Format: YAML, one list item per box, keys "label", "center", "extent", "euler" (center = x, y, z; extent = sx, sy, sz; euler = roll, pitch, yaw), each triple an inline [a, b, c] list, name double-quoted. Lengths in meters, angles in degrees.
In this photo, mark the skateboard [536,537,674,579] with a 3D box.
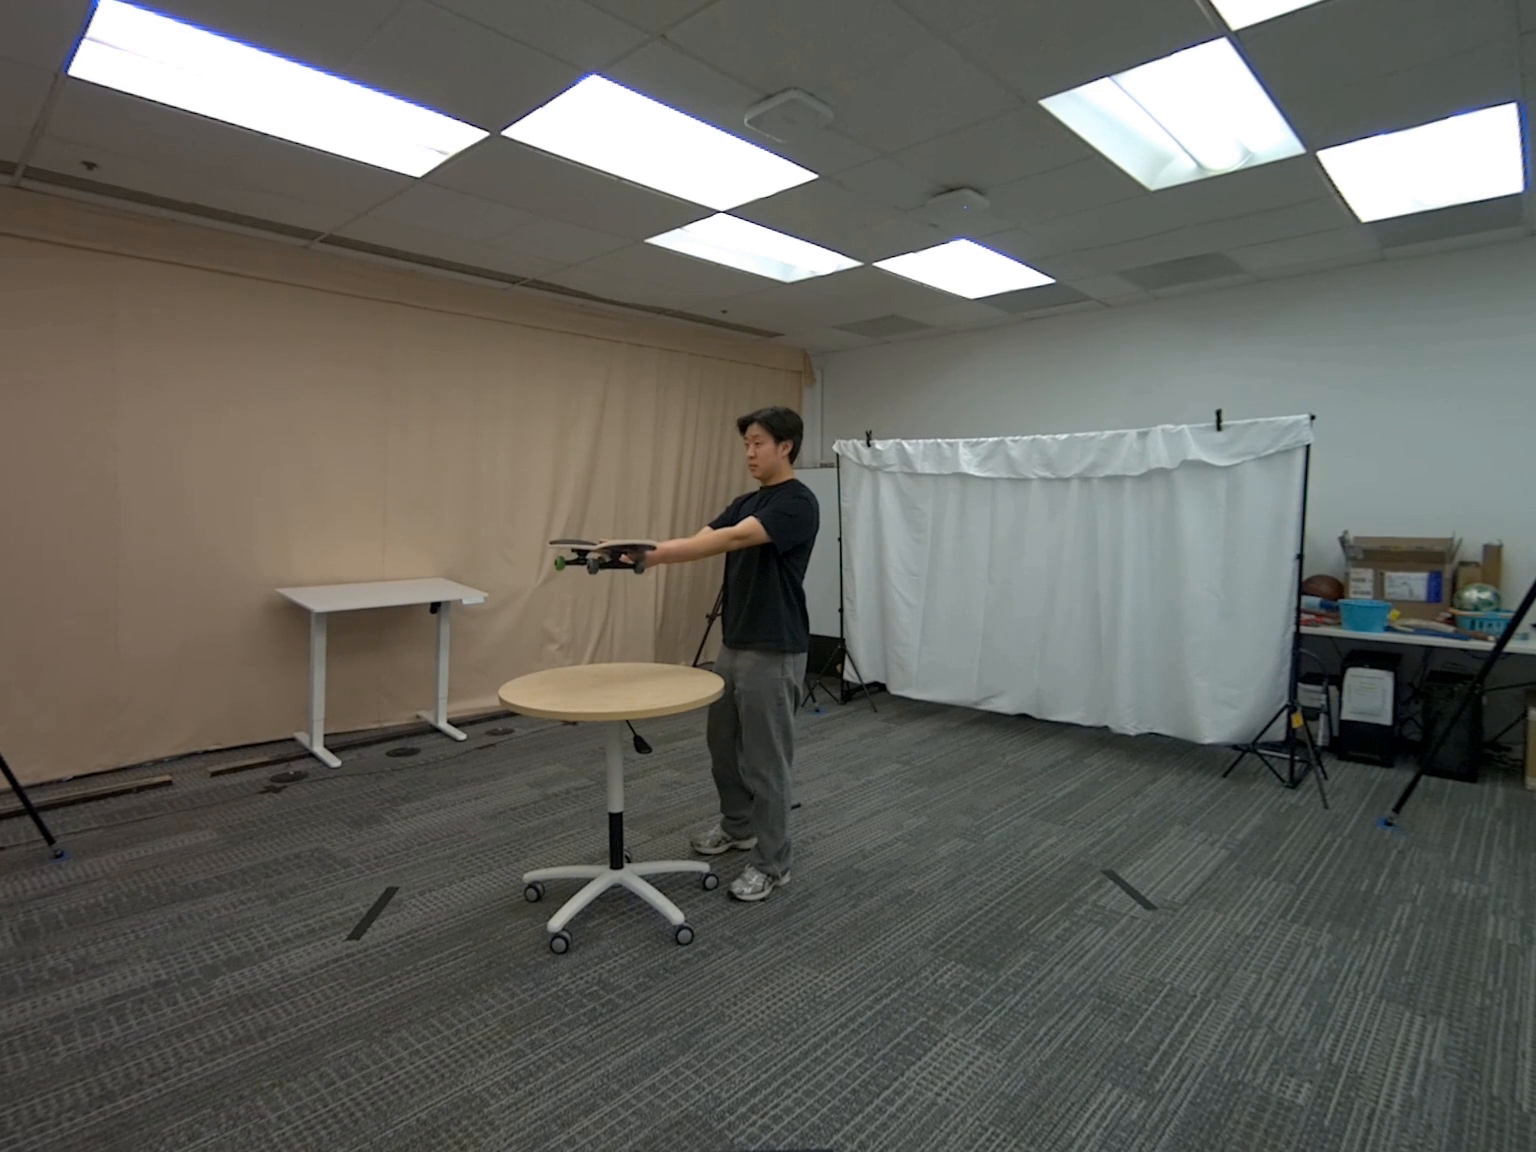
- label: "skateboard"
  center: [-0.572, -0.072, 2.834]
  extent: [0.188, 0.110, 0.807]
  euler: [-4, 4, -30]
